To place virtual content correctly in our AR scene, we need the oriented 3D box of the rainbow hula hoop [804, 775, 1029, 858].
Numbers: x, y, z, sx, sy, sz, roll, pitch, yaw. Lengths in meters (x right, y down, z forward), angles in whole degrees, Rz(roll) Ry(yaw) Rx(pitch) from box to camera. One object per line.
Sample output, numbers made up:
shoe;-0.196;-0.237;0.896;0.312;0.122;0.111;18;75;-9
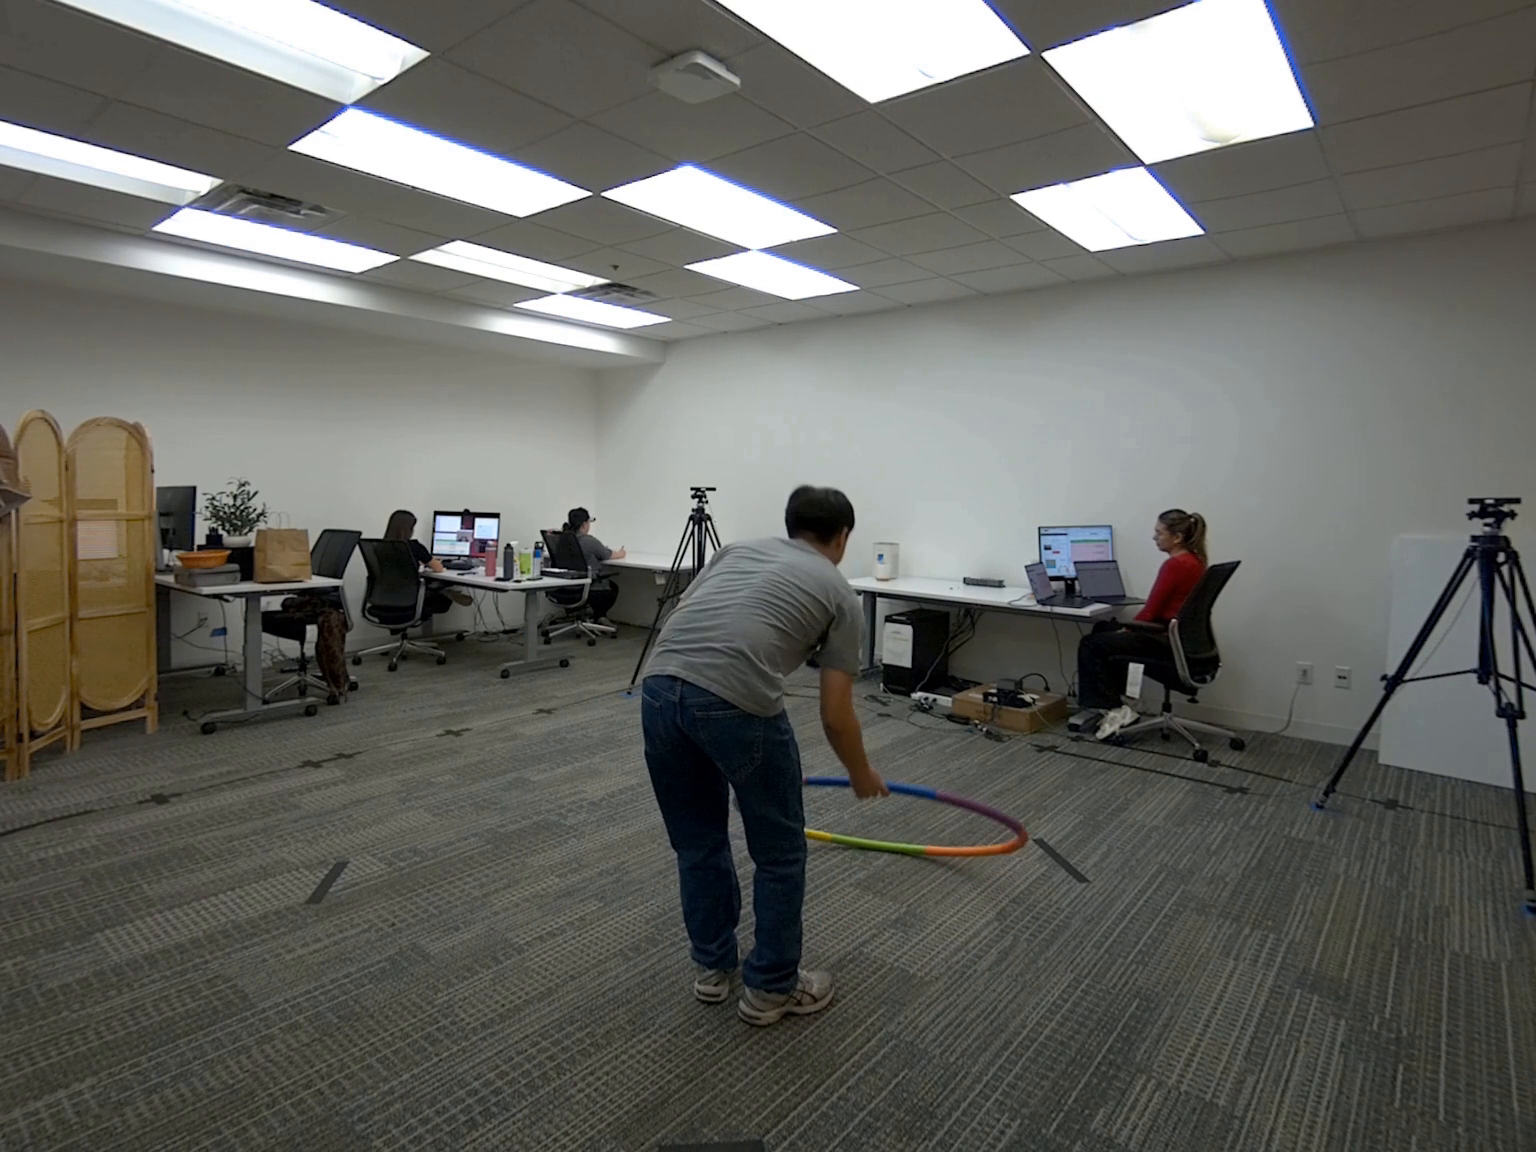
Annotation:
rainbow hula hoop;0.354;0.825;2.889;0.983;0.036;0.956;9;-27;3
